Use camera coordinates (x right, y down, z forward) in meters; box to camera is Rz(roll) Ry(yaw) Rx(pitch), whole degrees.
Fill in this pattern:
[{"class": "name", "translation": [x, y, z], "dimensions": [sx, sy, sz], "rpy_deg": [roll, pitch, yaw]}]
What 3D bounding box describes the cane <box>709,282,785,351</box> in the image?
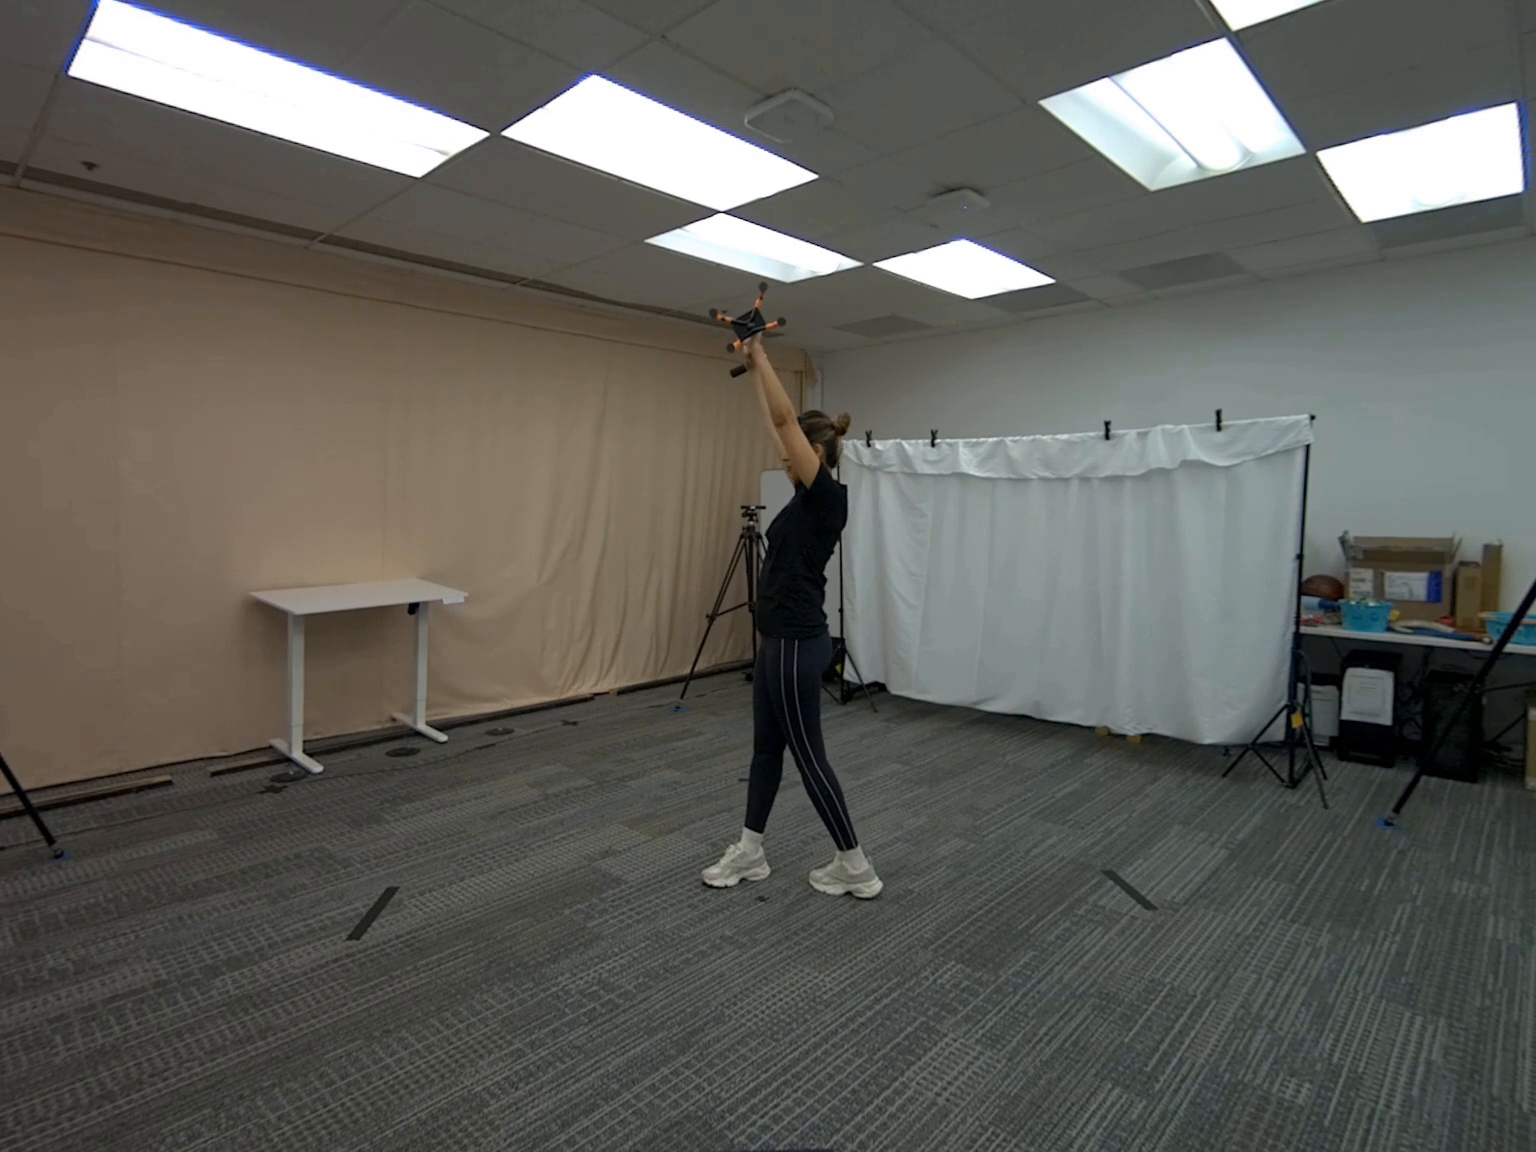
[{"class": "cane", "translation": [-0.069, -0.849, 3.084], "dimensions": [0.207, 0.151, 0.909], "rpy_deg": [-26, 5, 2]}]
